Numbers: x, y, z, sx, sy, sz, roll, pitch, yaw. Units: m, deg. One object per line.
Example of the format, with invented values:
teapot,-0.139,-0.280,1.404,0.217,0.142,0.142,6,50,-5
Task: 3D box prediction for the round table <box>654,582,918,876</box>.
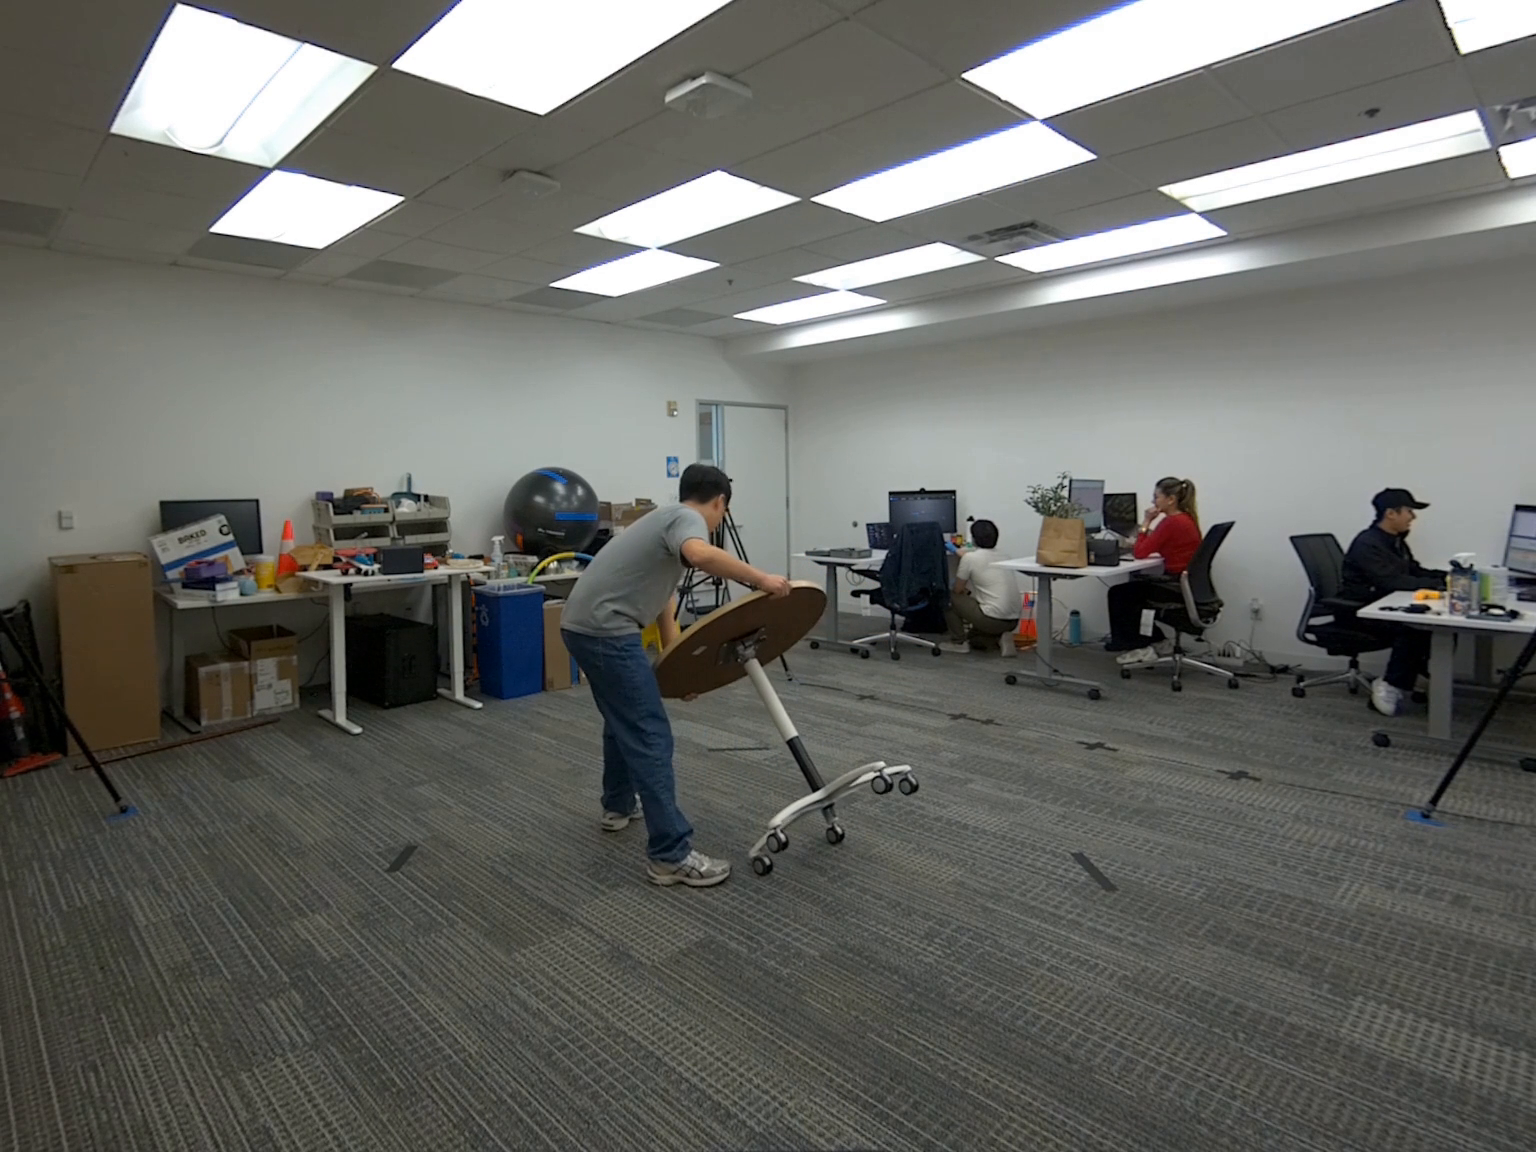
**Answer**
round table,0.076,0.562,3.139,0.758,0.817,0.747,-24,-25,-13
